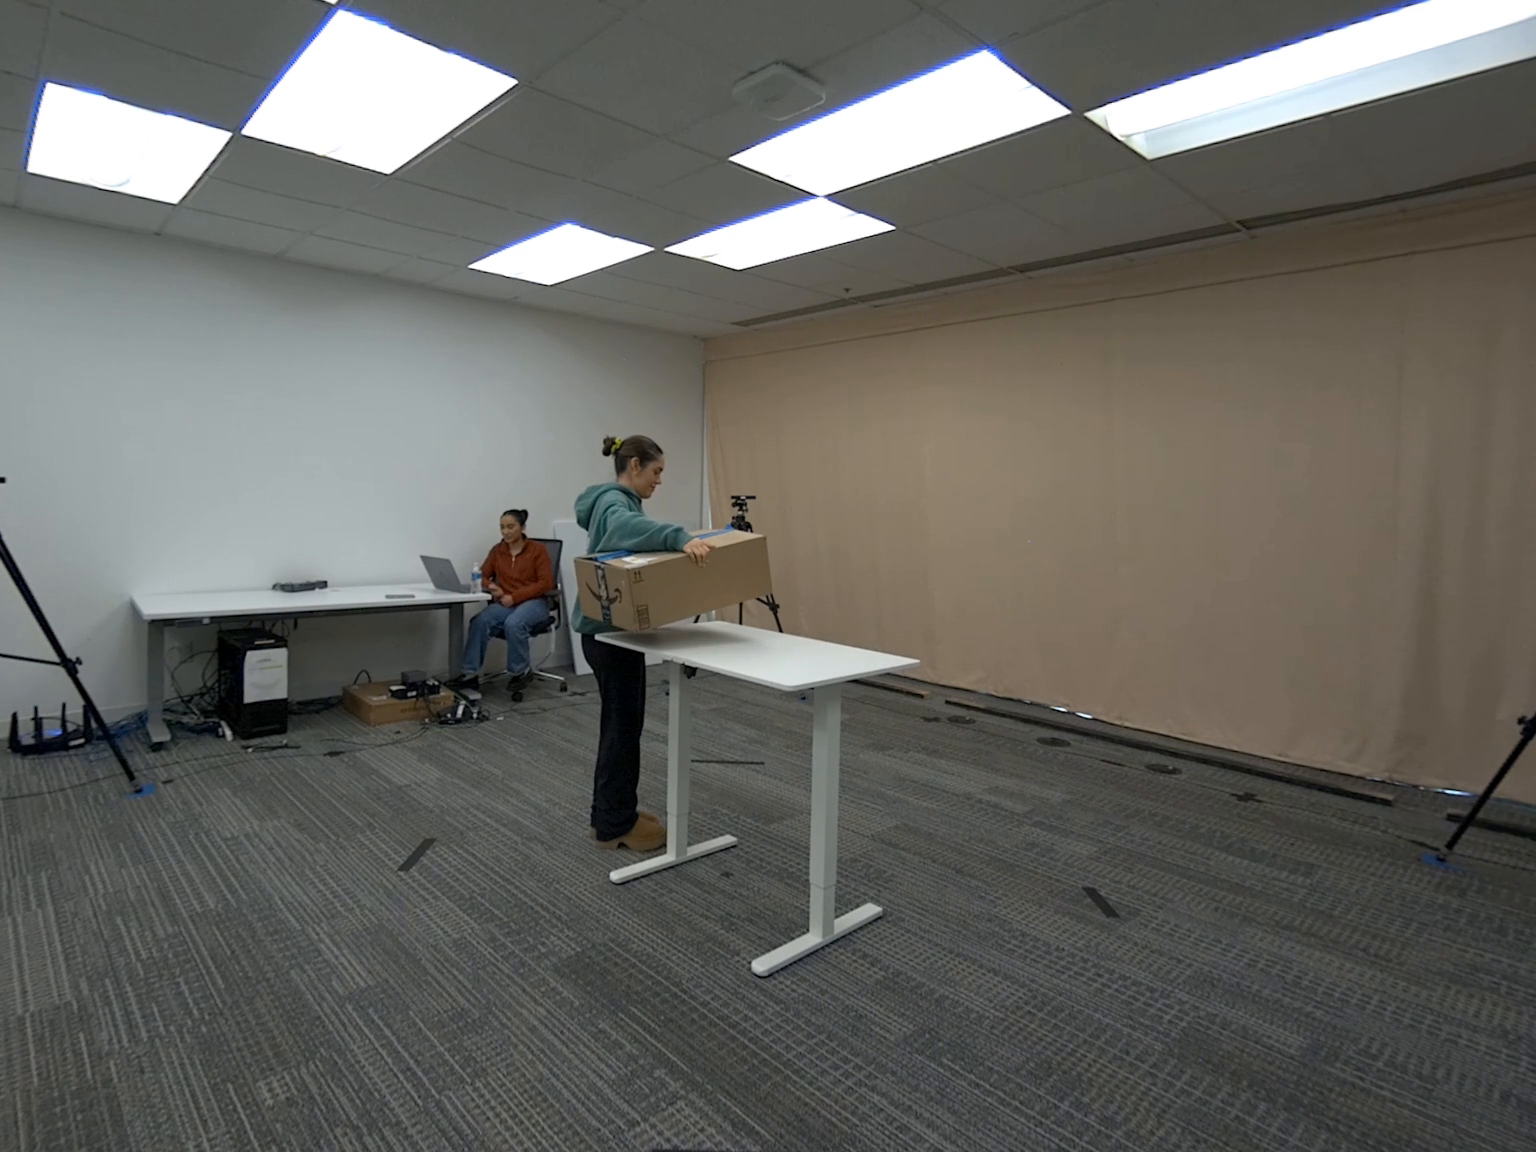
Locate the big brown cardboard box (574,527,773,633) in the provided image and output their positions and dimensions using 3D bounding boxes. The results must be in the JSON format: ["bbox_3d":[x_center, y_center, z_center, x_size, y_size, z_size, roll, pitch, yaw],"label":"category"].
[{"bbox_3d":[-0.345,0.003,3.007,0.579,0.231,0.428,-14,13,-35],"label":"big brown cardboard box"}]
